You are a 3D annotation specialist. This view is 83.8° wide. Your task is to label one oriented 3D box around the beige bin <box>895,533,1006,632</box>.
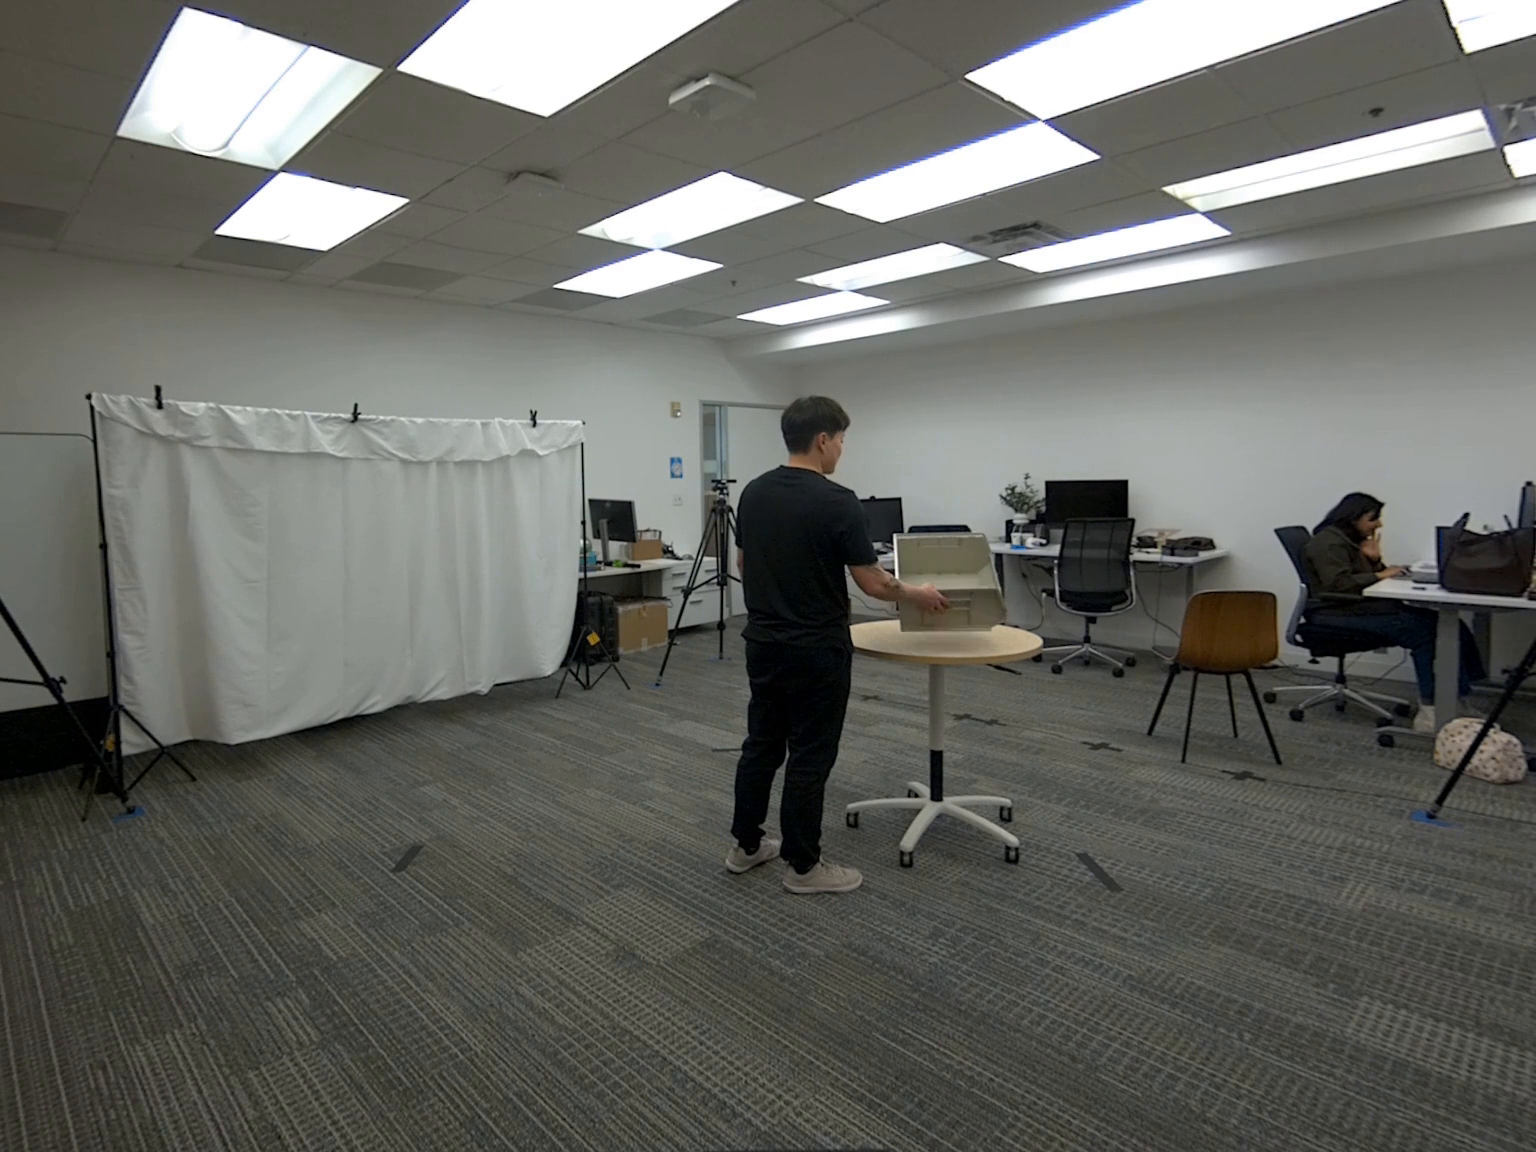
[{"bbox_3d":[0.668,0.014,3.169,0.381,0.184,0.429,-2,29,10],"label":"beige bin"}]
